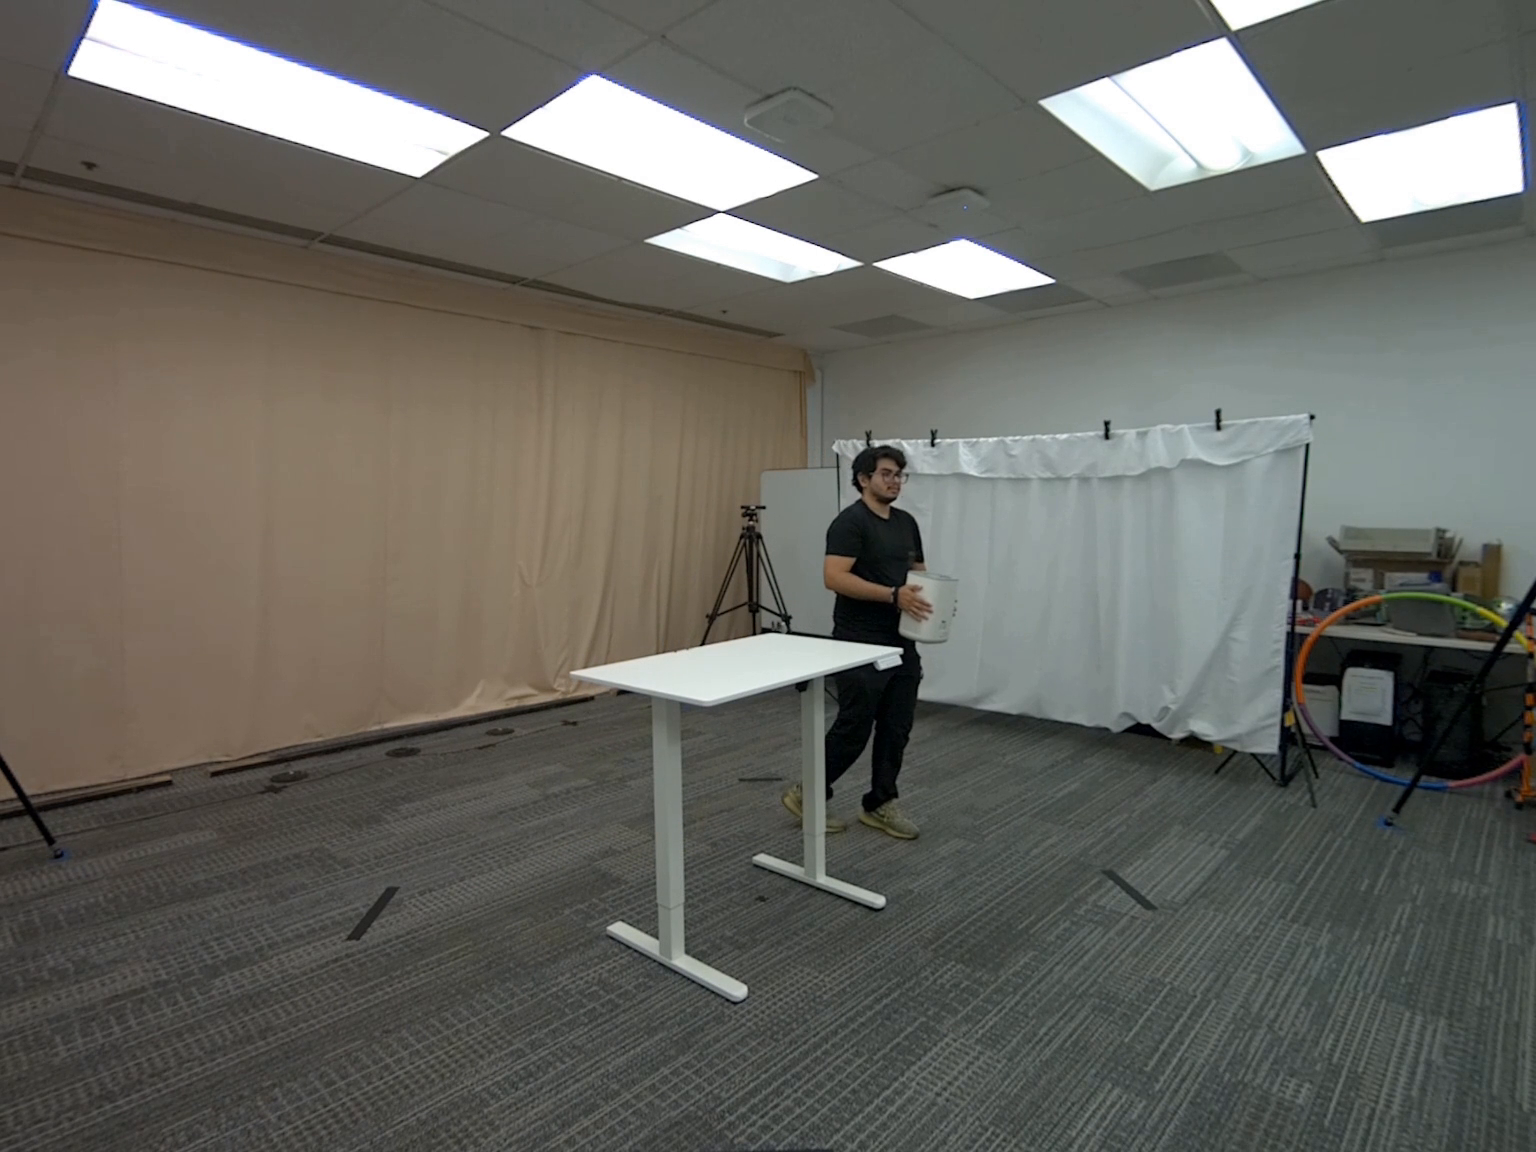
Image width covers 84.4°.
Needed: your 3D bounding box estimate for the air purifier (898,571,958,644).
[{"bbox_3d":[0.634,0.127,3.368,0.165,0.264,0.178,2,10,-43],"label":"air purifier"}]
